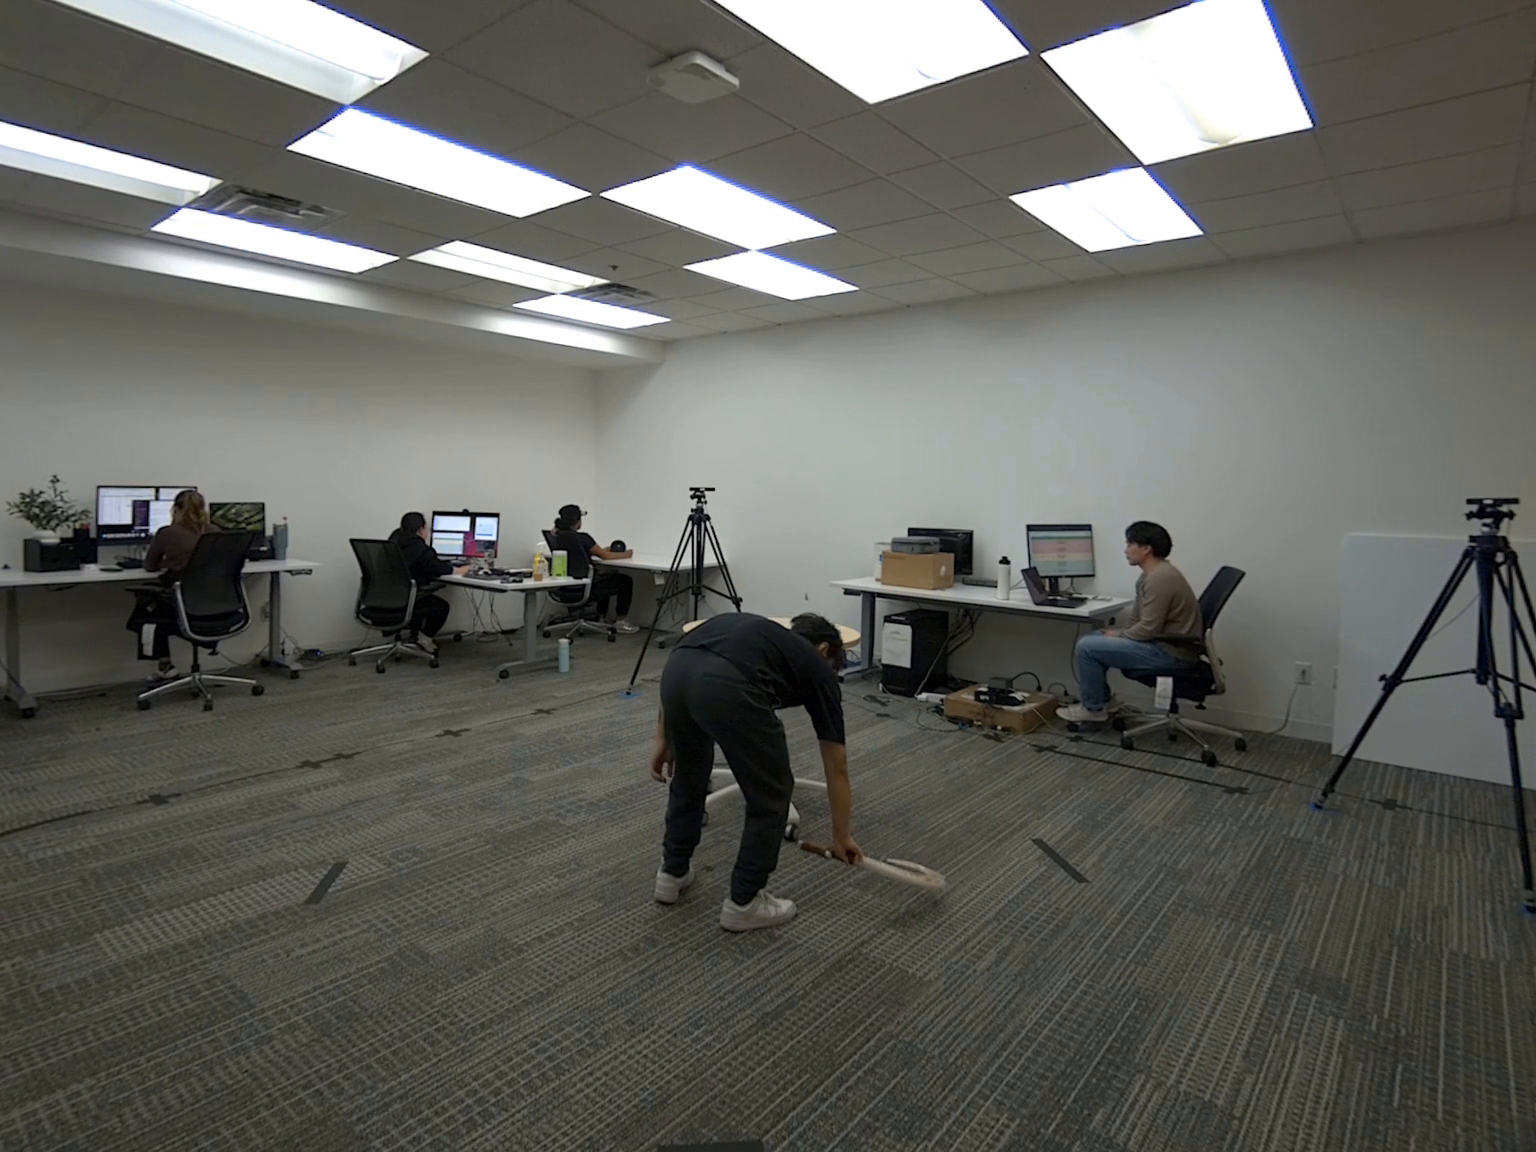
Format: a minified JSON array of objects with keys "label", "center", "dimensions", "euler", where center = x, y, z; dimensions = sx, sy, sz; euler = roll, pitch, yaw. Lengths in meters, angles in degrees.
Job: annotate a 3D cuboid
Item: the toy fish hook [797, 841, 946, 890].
[{"label":"toy fish hook","center":[0.345,0.981,2.915],"dimensions":[0.513,0.048,0.220],"euler":[13,-7,10]}]
